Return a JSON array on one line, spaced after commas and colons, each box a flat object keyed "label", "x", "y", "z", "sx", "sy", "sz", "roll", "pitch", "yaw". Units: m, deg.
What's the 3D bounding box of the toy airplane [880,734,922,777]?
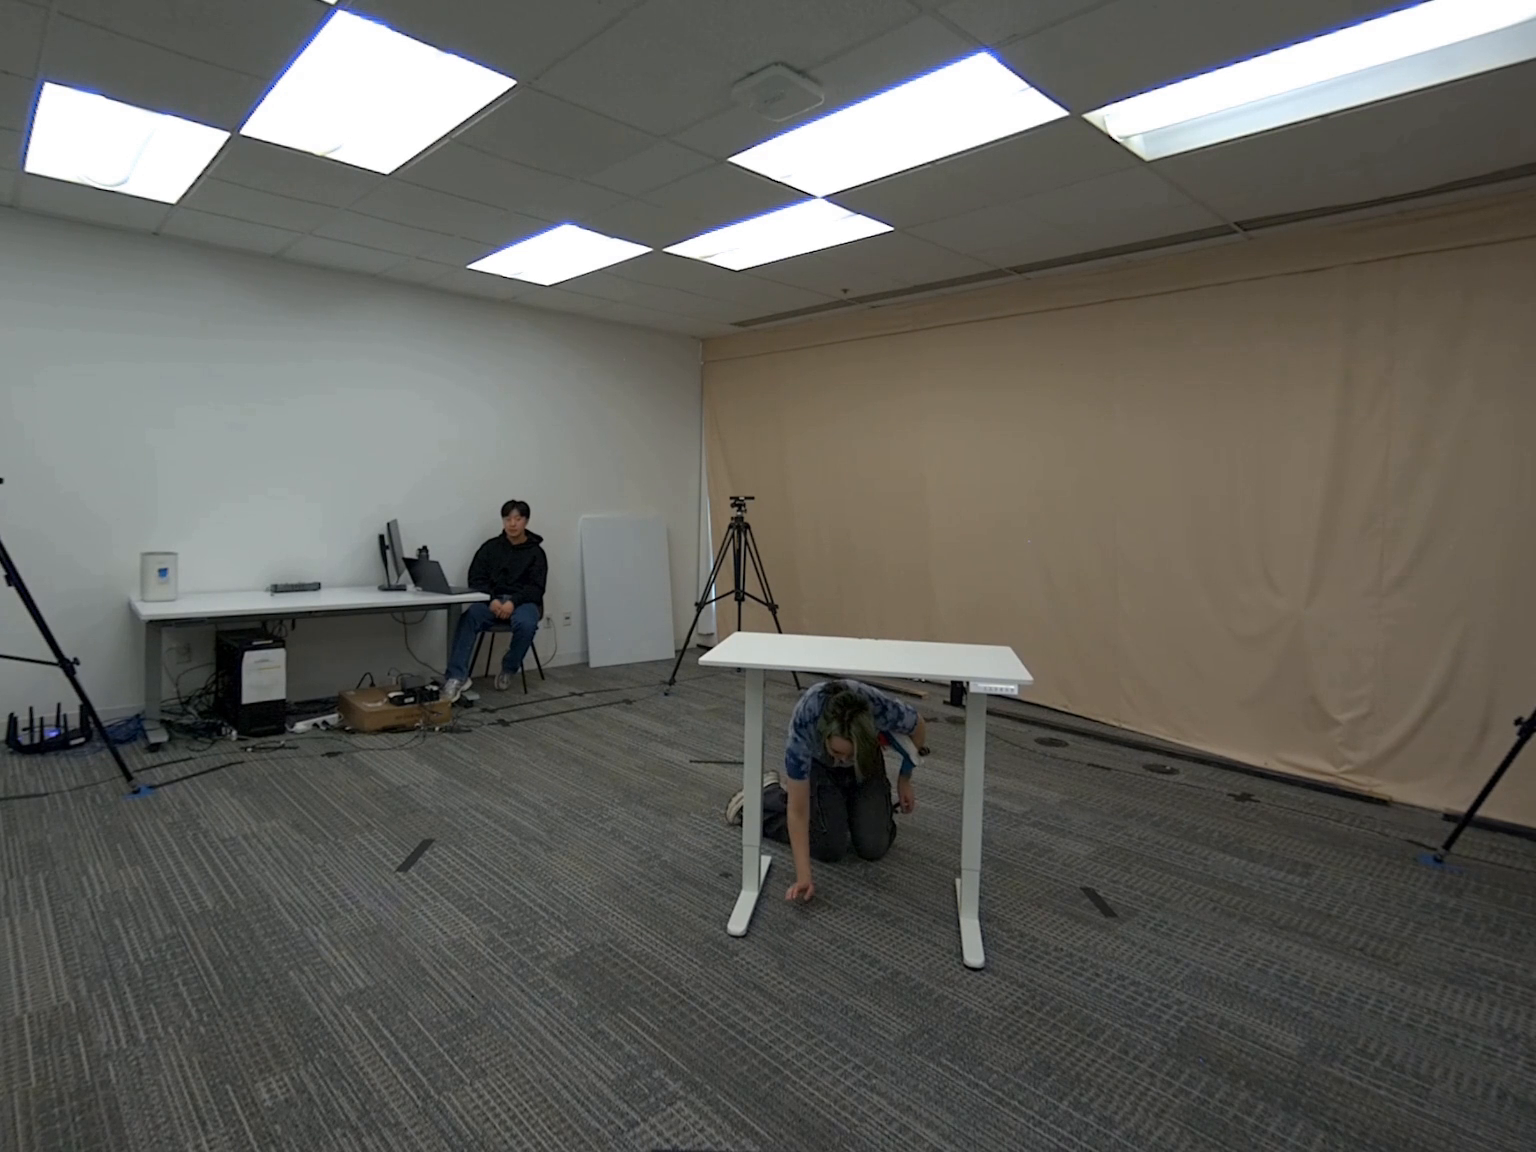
[{"label": "toy airplane", "x": 0.493, "y": 0.613, "z": 3.242, "sx": 0.157, "sy": 0.266, "sz": 0.243, "roll": -35, "pitch": -48, "yaw": 20}]
